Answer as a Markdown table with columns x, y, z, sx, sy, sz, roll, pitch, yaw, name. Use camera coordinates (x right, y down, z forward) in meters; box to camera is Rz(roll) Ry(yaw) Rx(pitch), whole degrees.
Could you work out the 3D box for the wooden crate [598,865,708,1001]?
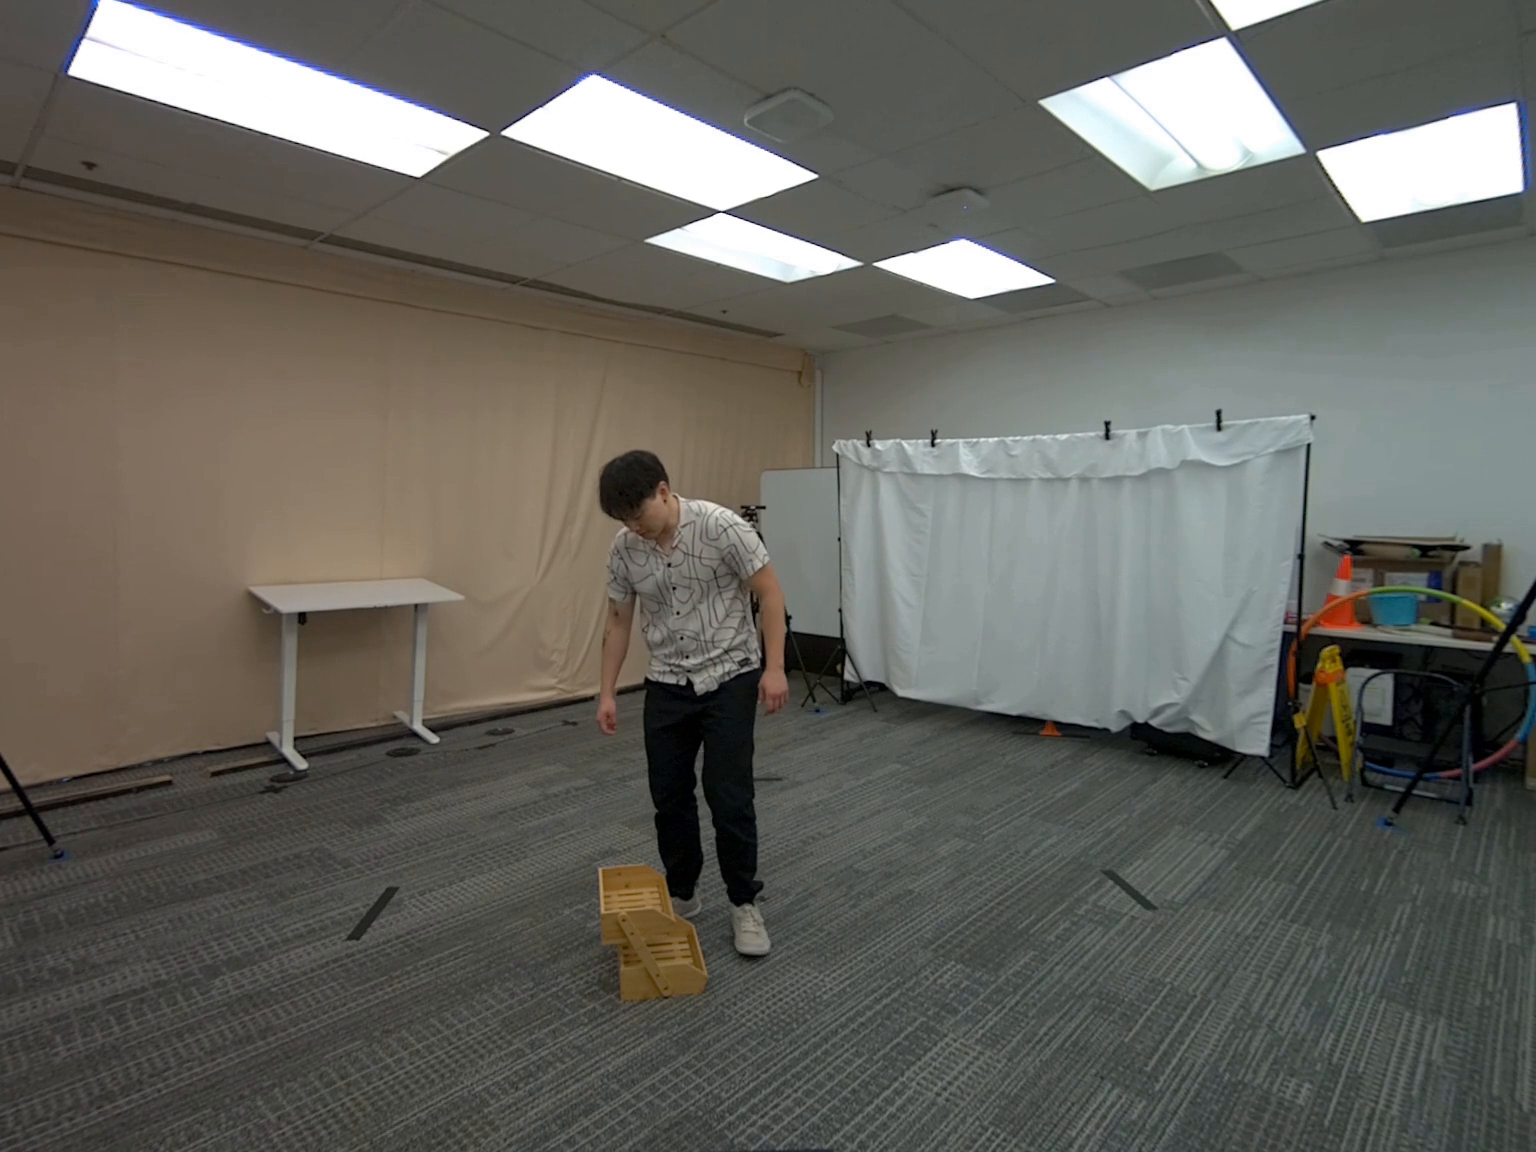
| x | y | z | sx | sy | sz | roll | pitch | yaw | name |
| --- | --- | --- | --- | --- | --- | --- | --- | --- | --- |
| -0.344 | 1.046 | 2.522 | 0.299 | 0.273 | 0.329 | -1 | 4 | -11 | wooden crate |
